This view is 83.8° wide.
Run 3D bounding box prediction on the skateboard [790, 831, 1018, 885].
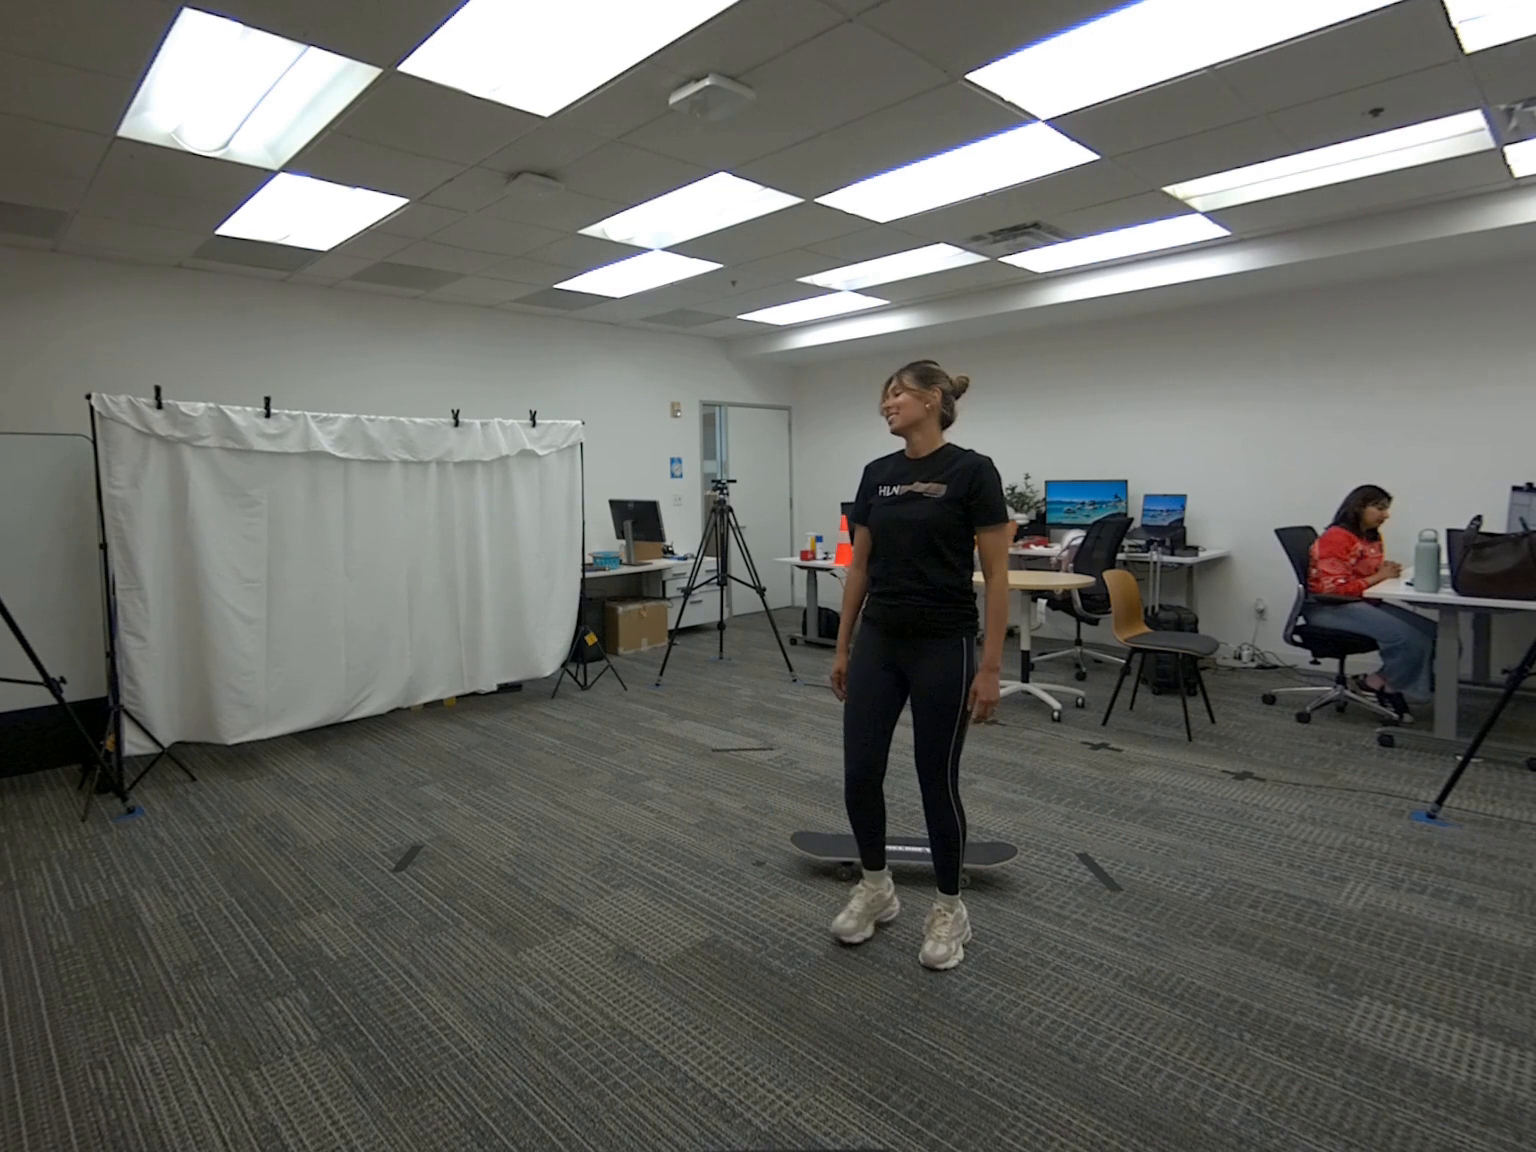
[{"bbox_3d":[0.473,0.990,3.003,0.793,0.110,0.192,0,6,9],"label":"skateboard"}]
